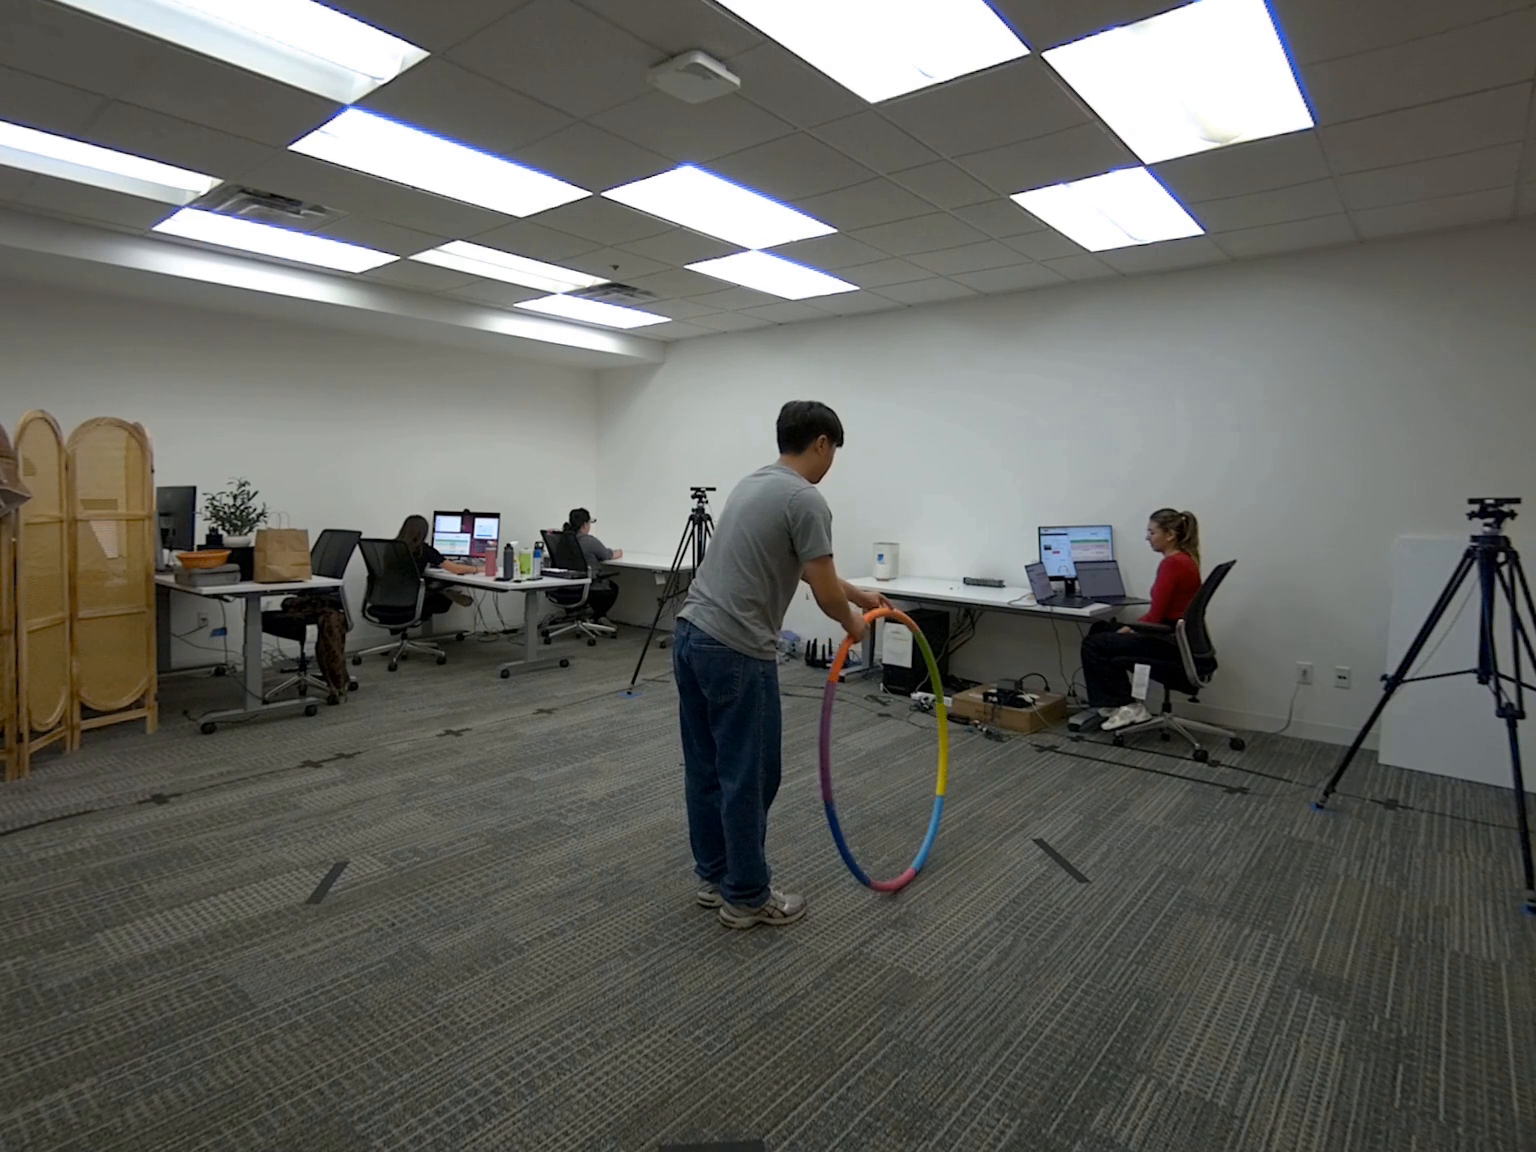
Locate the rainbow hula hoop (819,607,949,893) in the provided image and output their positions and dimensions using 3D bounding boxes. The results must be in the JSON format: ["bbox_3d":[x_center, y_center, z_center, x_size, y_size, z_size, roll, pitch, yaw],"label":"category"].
[{"bbox_3d":[0.441,0.607,3.042,0.036,0.981,0.952,-8,-1,34],"label":"rainbow hula hoop"}]
